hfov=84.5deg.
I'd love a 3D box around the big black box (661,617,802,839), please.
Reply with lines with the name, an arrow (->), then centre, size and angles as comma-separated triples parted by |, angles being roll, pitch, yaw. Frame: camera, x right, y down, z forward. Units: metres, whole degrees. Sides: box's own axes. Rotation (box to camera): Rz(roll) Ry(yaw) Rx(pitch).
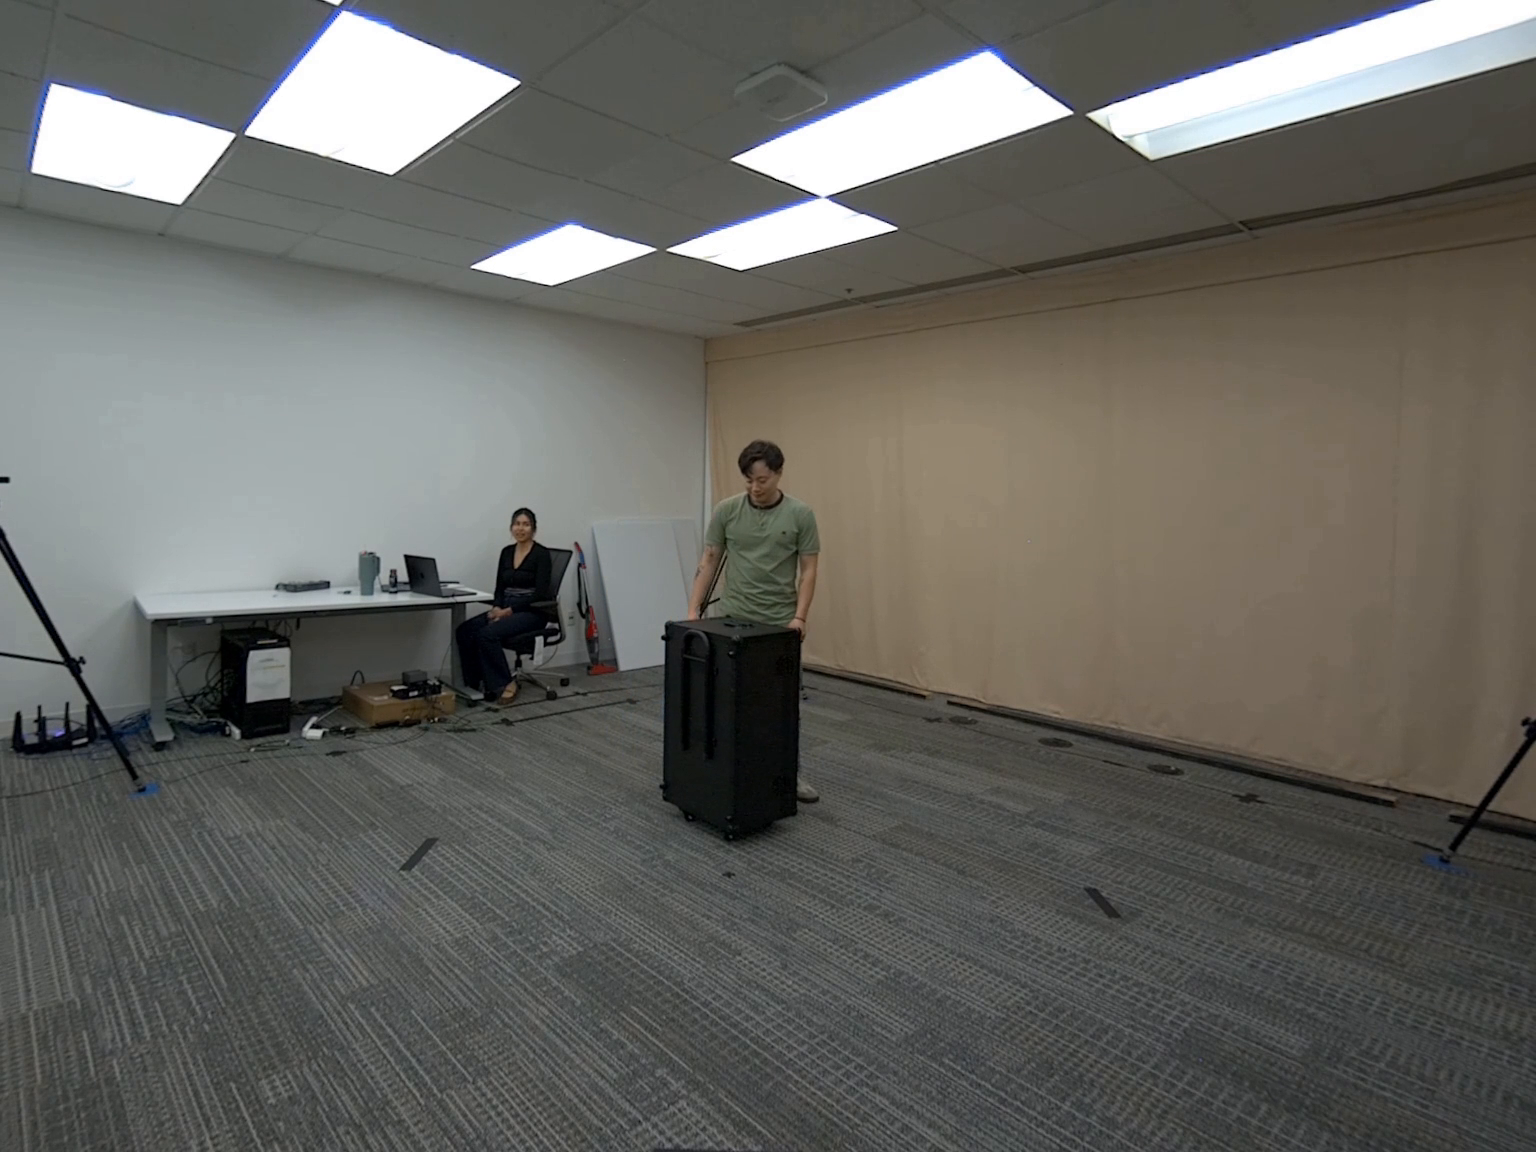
big black box -> -0.174, 0.636, 3.570 | 0.387, 0.859, 0.534 | -2, 5, -41
